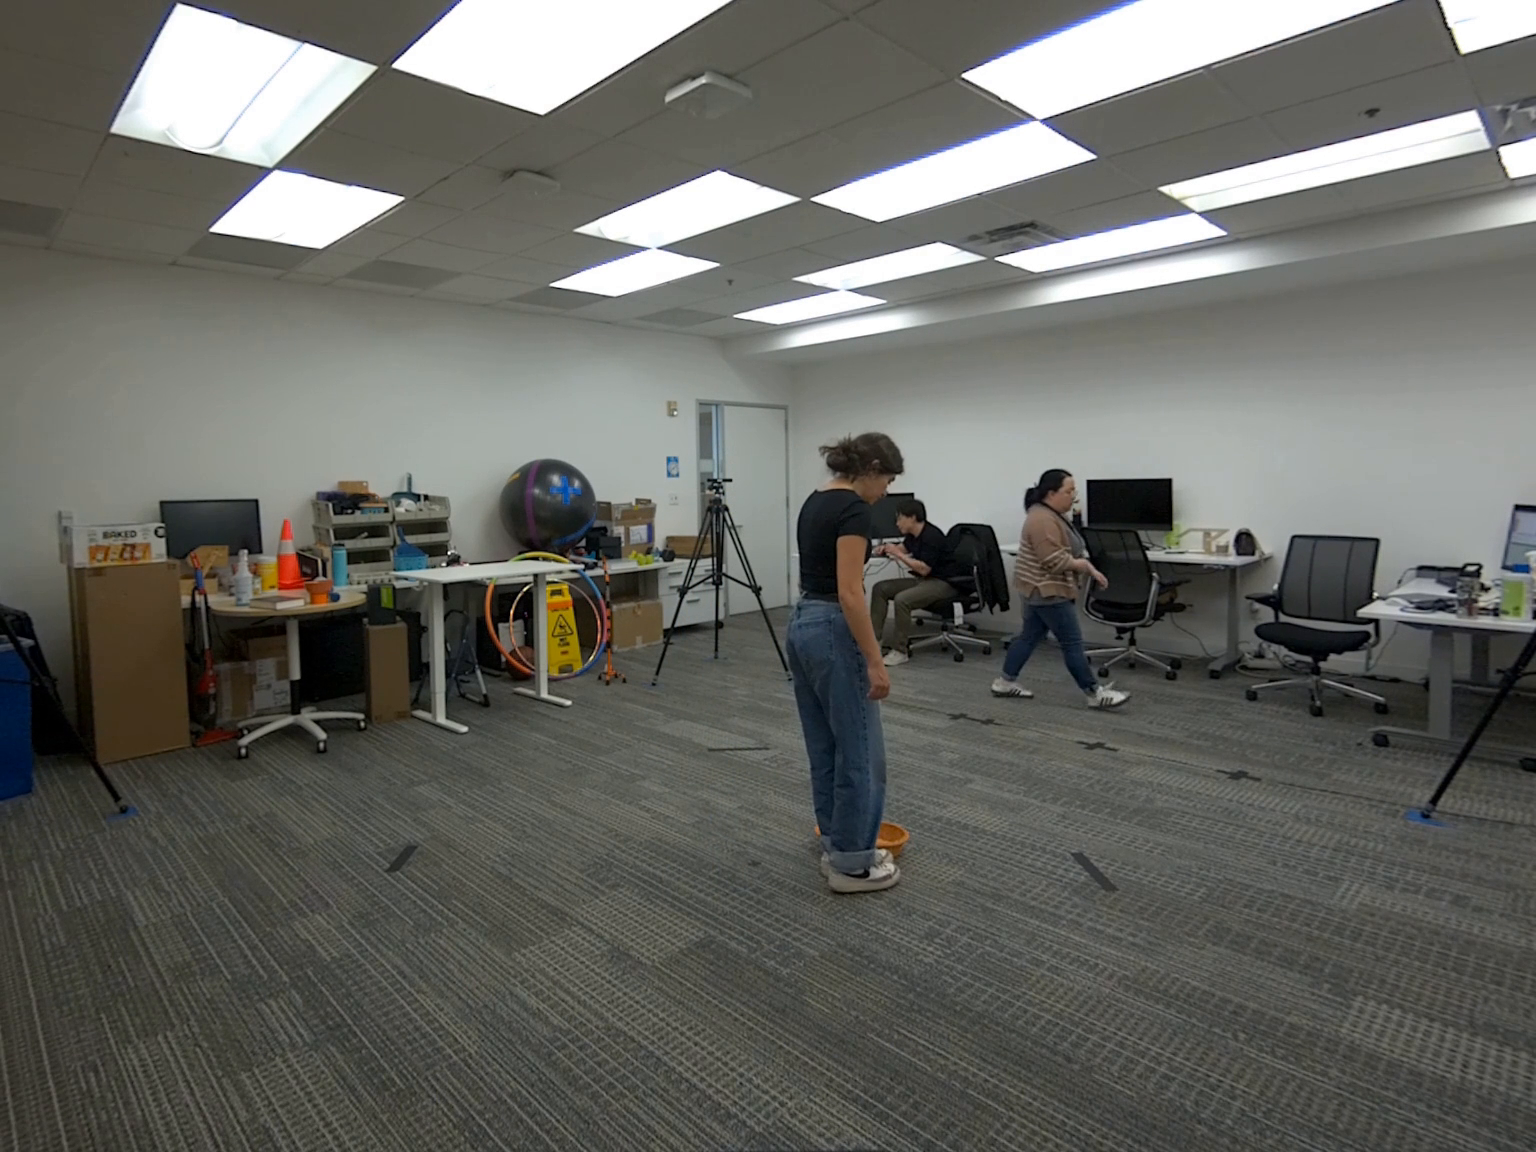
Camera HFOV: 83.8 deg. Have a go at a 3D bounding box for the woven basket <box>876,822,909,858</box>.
[{"bbox_3d":[0.349,0.985,3.209,0.357,0.073,0.248,1,5,19],"label":"woven basket"}]
